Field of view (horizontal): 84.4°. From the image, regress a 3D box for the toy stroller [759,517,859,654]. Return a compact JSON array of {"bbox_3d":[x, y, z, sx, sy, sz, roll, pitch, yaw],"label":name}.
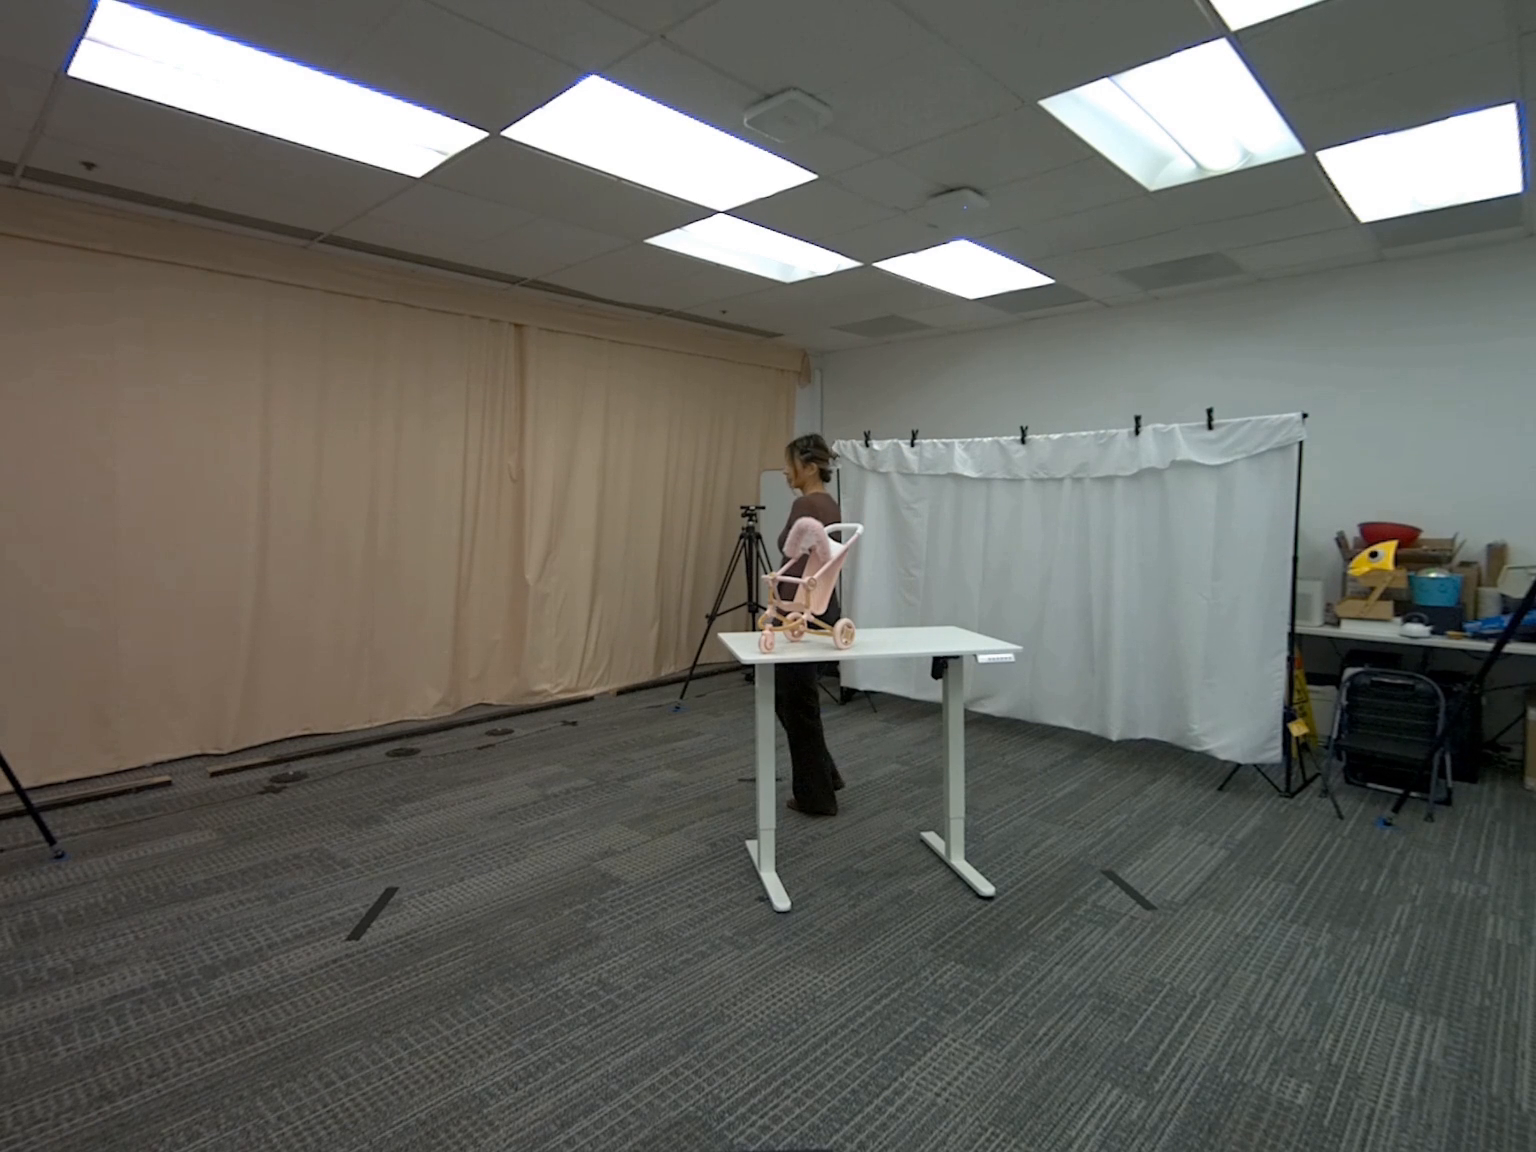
[{"bbox_3d":[0.134,0.032,3.026,0.330,0.536,0.290,16,-8,-37],"label":"toy stroller"}]
